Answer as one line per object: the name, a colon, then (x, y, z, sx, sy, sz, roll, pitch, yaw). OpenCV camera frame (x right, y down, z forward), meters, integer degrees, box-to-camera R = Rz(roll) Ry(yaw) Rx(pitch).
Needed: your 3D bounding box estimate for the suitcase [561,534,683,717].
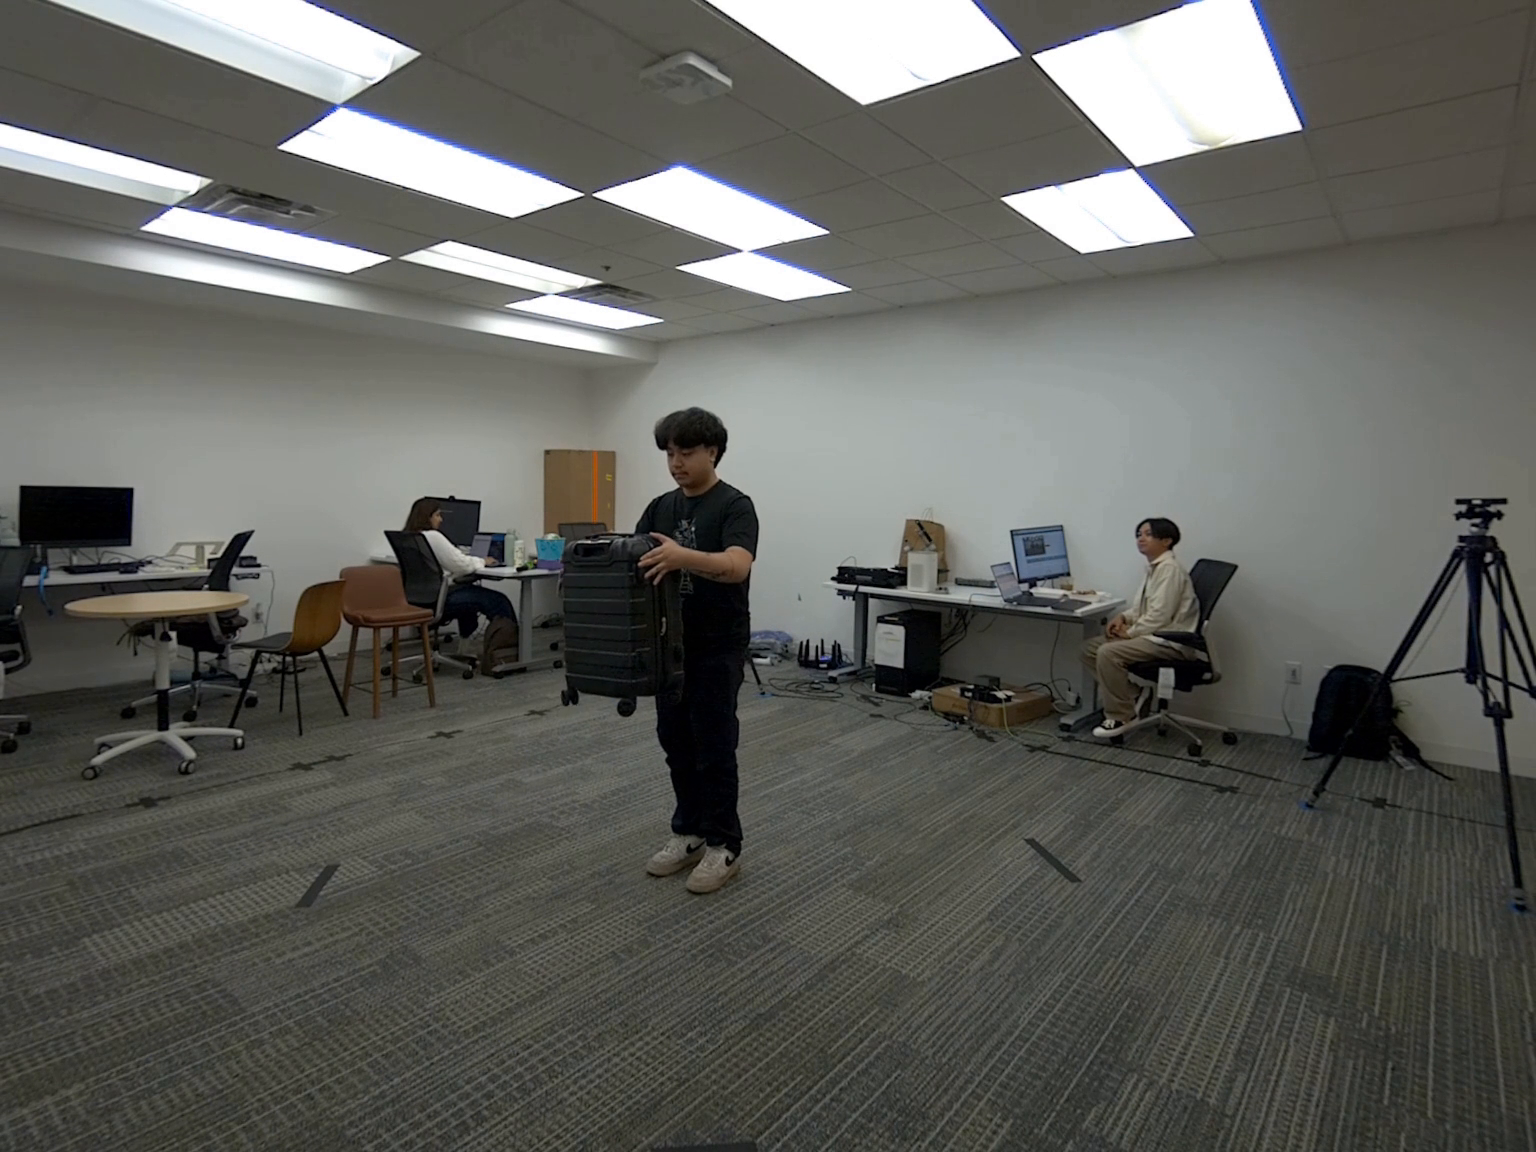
suitcase: (-0.484, 0.139, 2.733, 0.387, 0.550, 0.241, -2, 0, 41)
